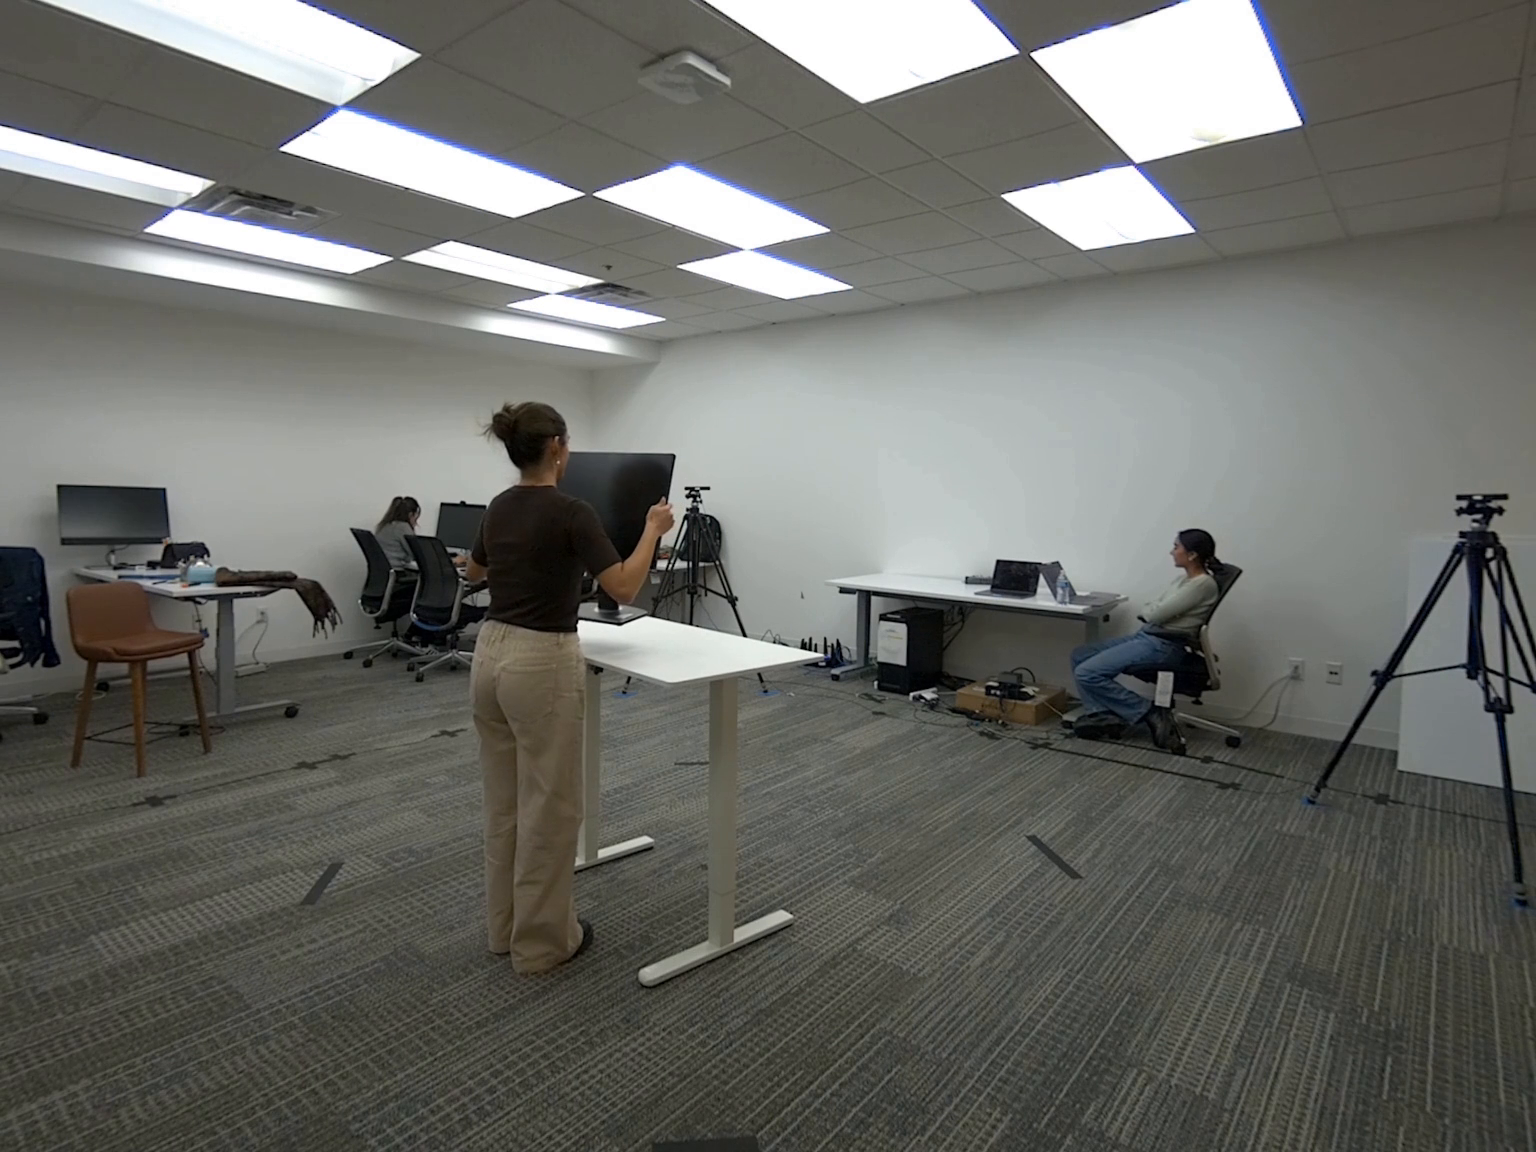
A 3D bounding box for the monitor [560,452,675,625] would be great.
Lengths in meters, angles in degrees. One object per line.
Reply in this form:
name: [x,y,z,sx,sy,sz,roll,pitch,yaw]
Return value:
monitor: [-0.533,-0.128,2.680,0.555,0.520,0.182,6,6,30]
